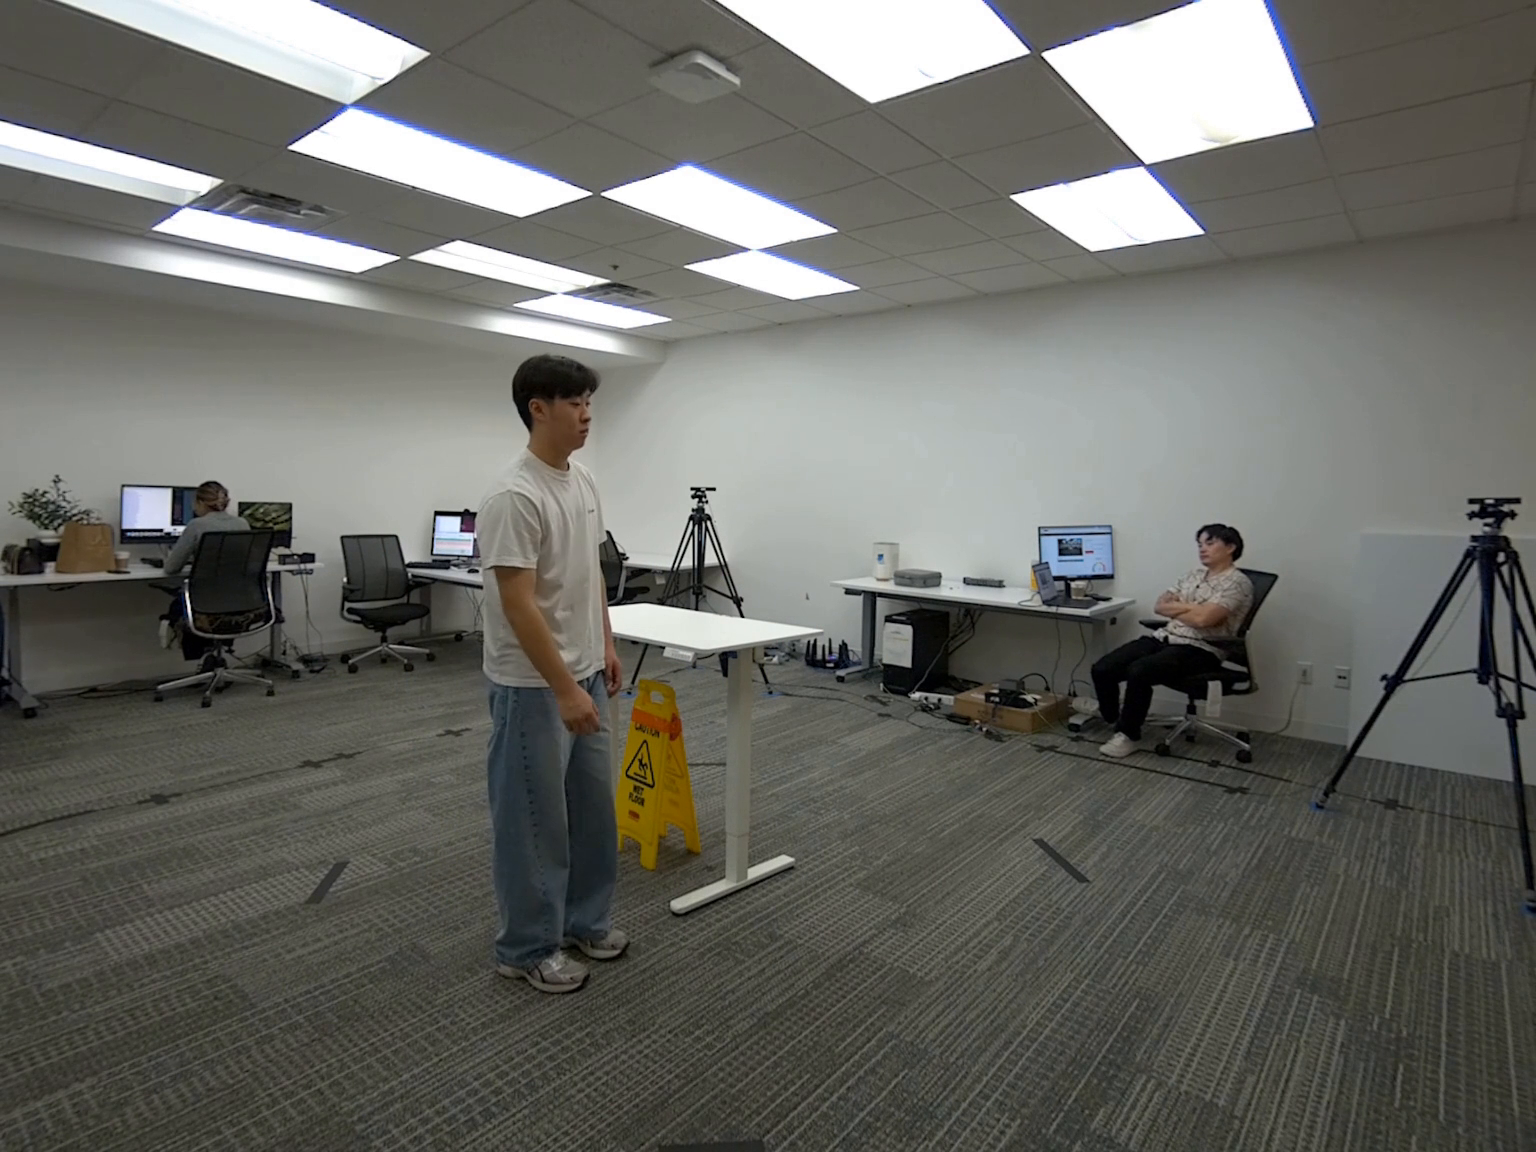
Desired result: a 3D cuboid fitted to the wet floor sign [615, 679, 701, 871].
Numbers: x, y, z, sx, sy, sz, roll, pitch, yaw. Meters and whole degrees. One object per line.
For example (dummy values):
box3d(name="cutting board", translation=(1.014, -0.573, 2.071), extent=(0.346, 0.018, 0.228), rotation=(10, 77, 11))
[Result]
box3d(name="wet floor sign", translation=(-0.440, 0.722, 3.243), extent=(0.281, 0.644, 0.292), rotation=(-1, 4, -44))
